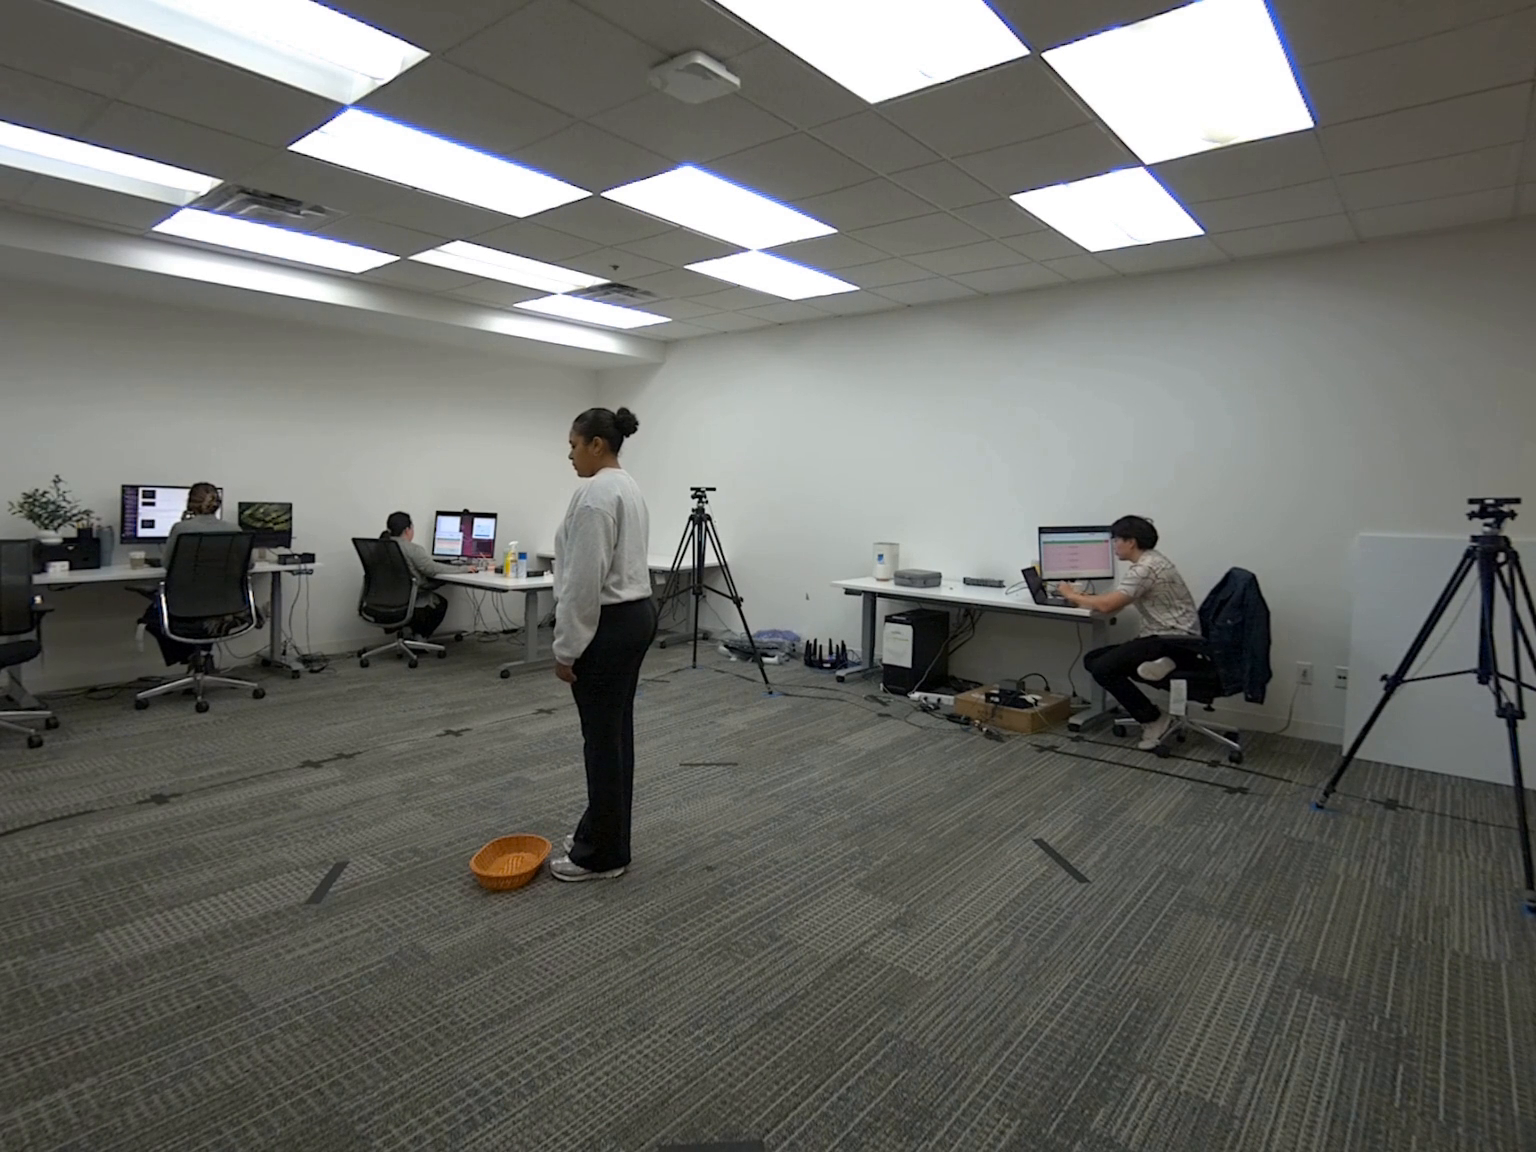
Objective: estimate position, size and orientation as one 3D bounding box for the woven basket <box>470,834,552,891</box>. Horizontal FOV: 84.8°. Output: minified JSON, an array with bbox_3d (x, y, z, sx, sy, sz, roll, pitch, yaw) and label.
[{"bbox_3d":[-0.926,1.021,3.048,0.255,0.073,0.348,1,6,9],"label":"woven basket"}]
